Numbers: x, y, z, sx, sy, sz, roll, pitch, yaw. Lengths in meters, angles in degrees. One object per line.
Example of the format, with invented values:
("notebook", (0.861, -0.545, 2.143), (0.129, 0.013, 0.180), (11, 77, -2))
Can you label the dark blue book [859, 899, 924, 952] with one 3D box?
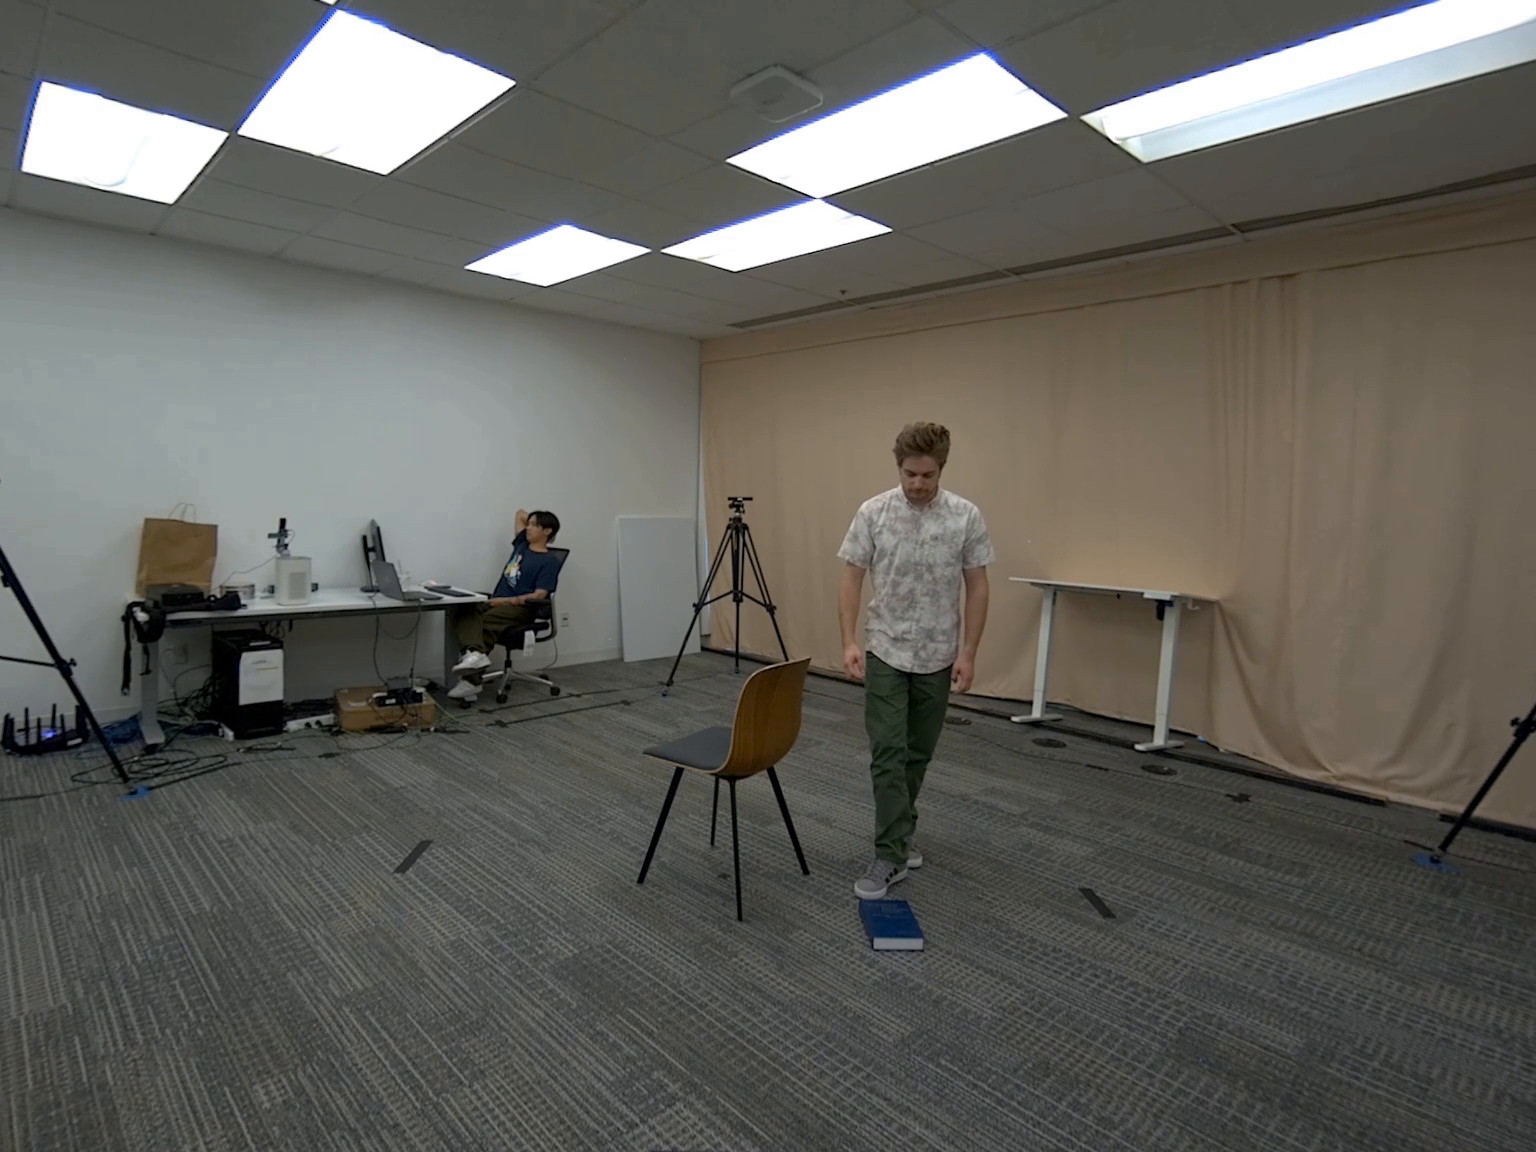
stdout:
("dark blue book", (0.393, 1.133, 2.729), (0.163, 0.045, 0.246), (2, 5, -4))
